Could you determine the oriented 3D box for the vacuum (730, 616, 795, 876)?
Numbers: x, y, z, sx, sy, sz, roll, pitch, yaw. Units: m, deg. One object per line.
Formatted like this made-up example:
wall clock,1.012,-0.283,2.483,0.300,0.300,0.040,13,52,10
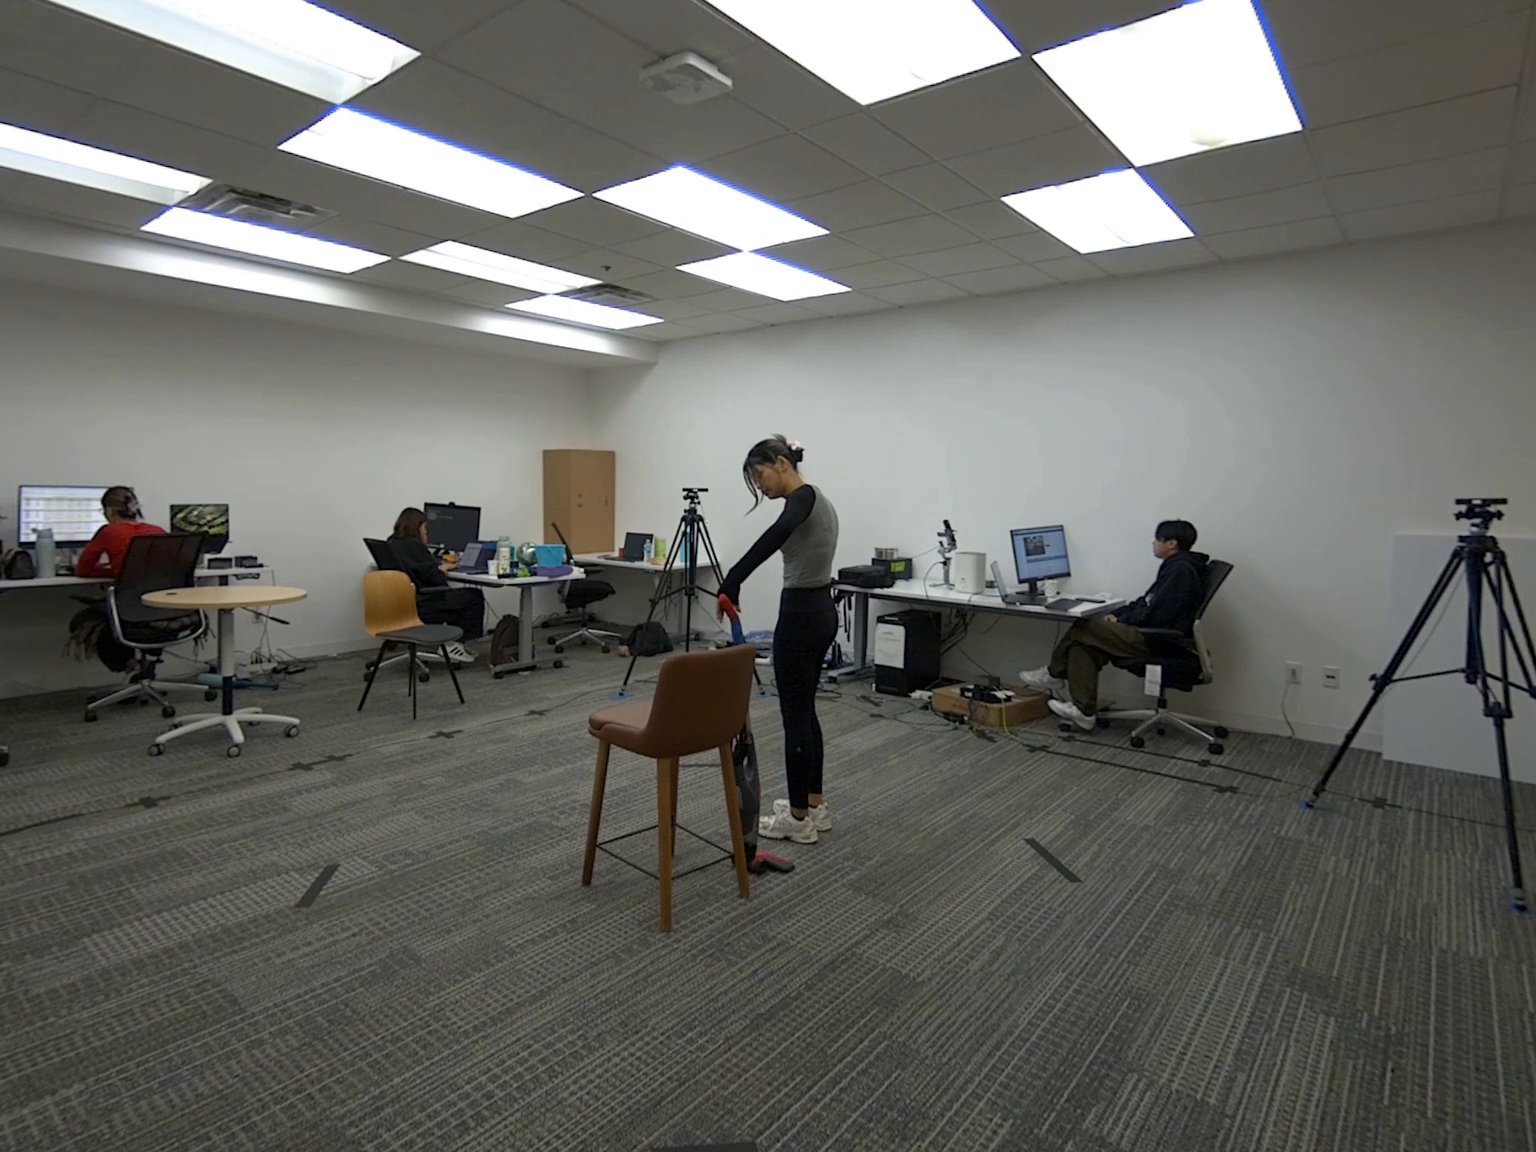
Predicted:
vacuum,-0.111,0.568,3.033,0.141,1.035,0.261,-17,16,-38
